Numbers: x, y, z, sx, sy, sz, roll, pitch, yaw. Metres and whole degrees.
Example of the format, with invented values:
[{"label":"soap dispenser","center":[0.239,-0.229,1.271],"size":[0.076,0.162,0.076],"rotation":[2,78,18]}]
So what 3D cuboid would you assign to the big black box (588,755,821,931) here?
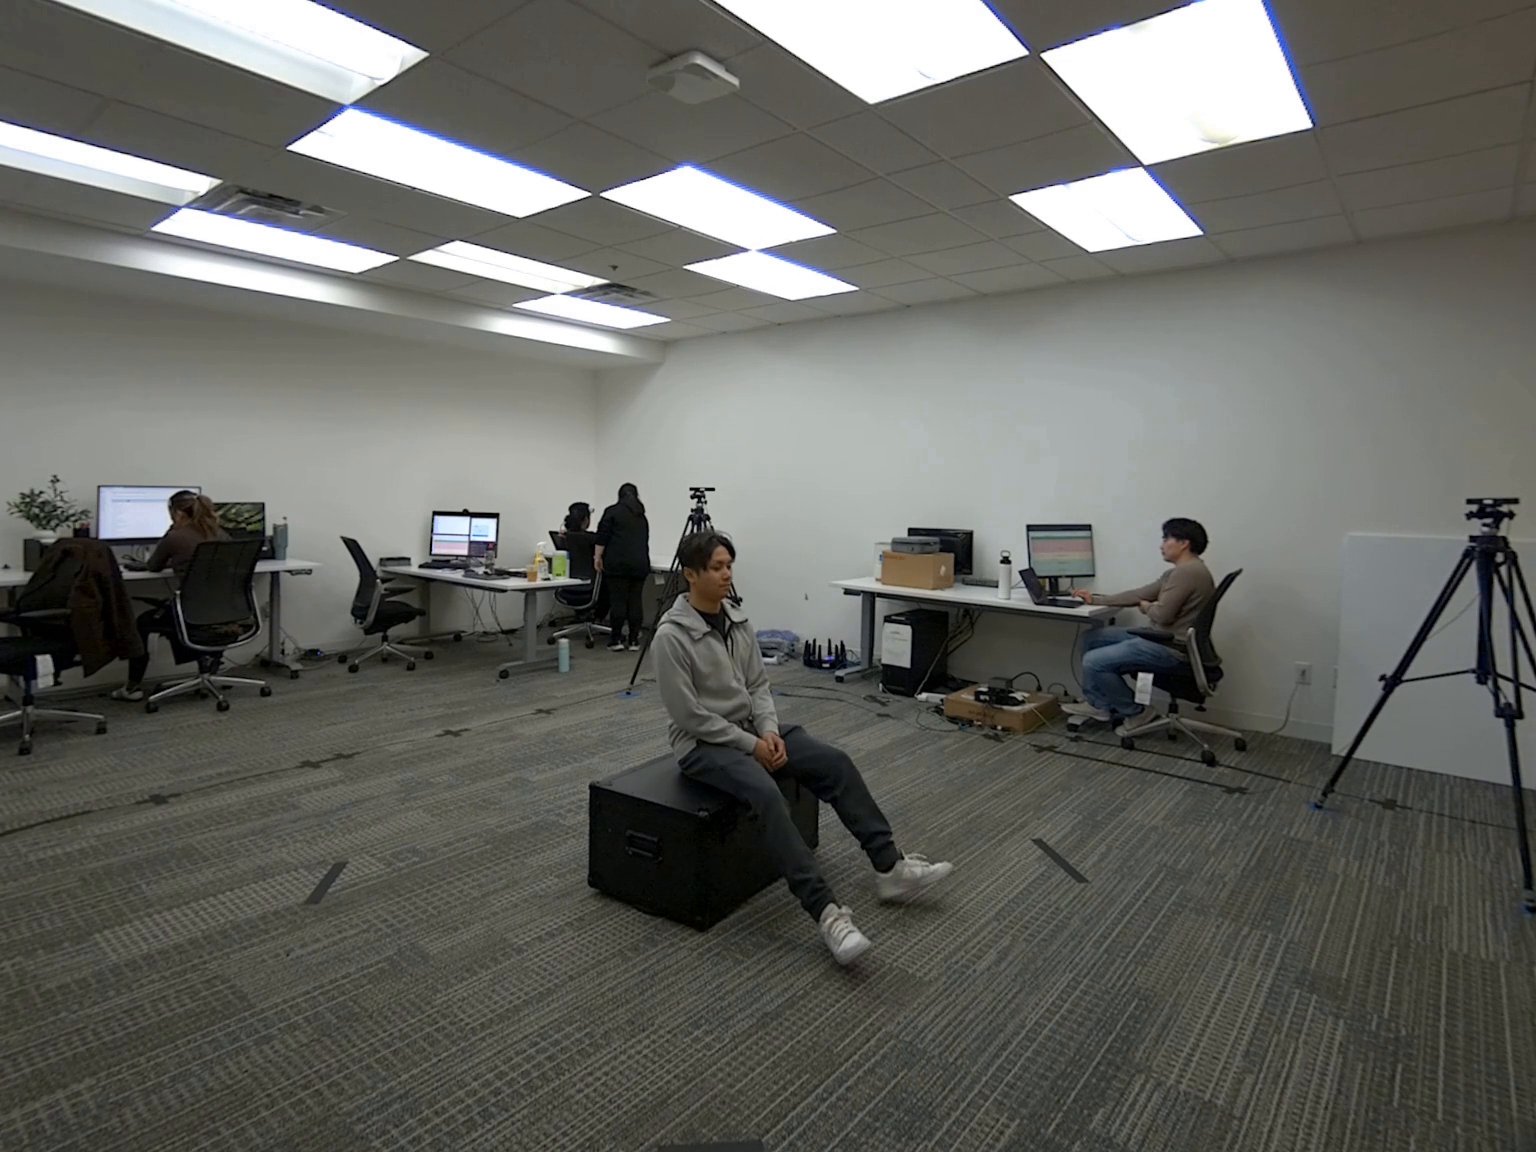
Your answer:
[{"label":"big black box","center":[-0.237,0.888,3.059],"size":[0.537,0.395,0.838],"rotation":[4,5,32]}]
